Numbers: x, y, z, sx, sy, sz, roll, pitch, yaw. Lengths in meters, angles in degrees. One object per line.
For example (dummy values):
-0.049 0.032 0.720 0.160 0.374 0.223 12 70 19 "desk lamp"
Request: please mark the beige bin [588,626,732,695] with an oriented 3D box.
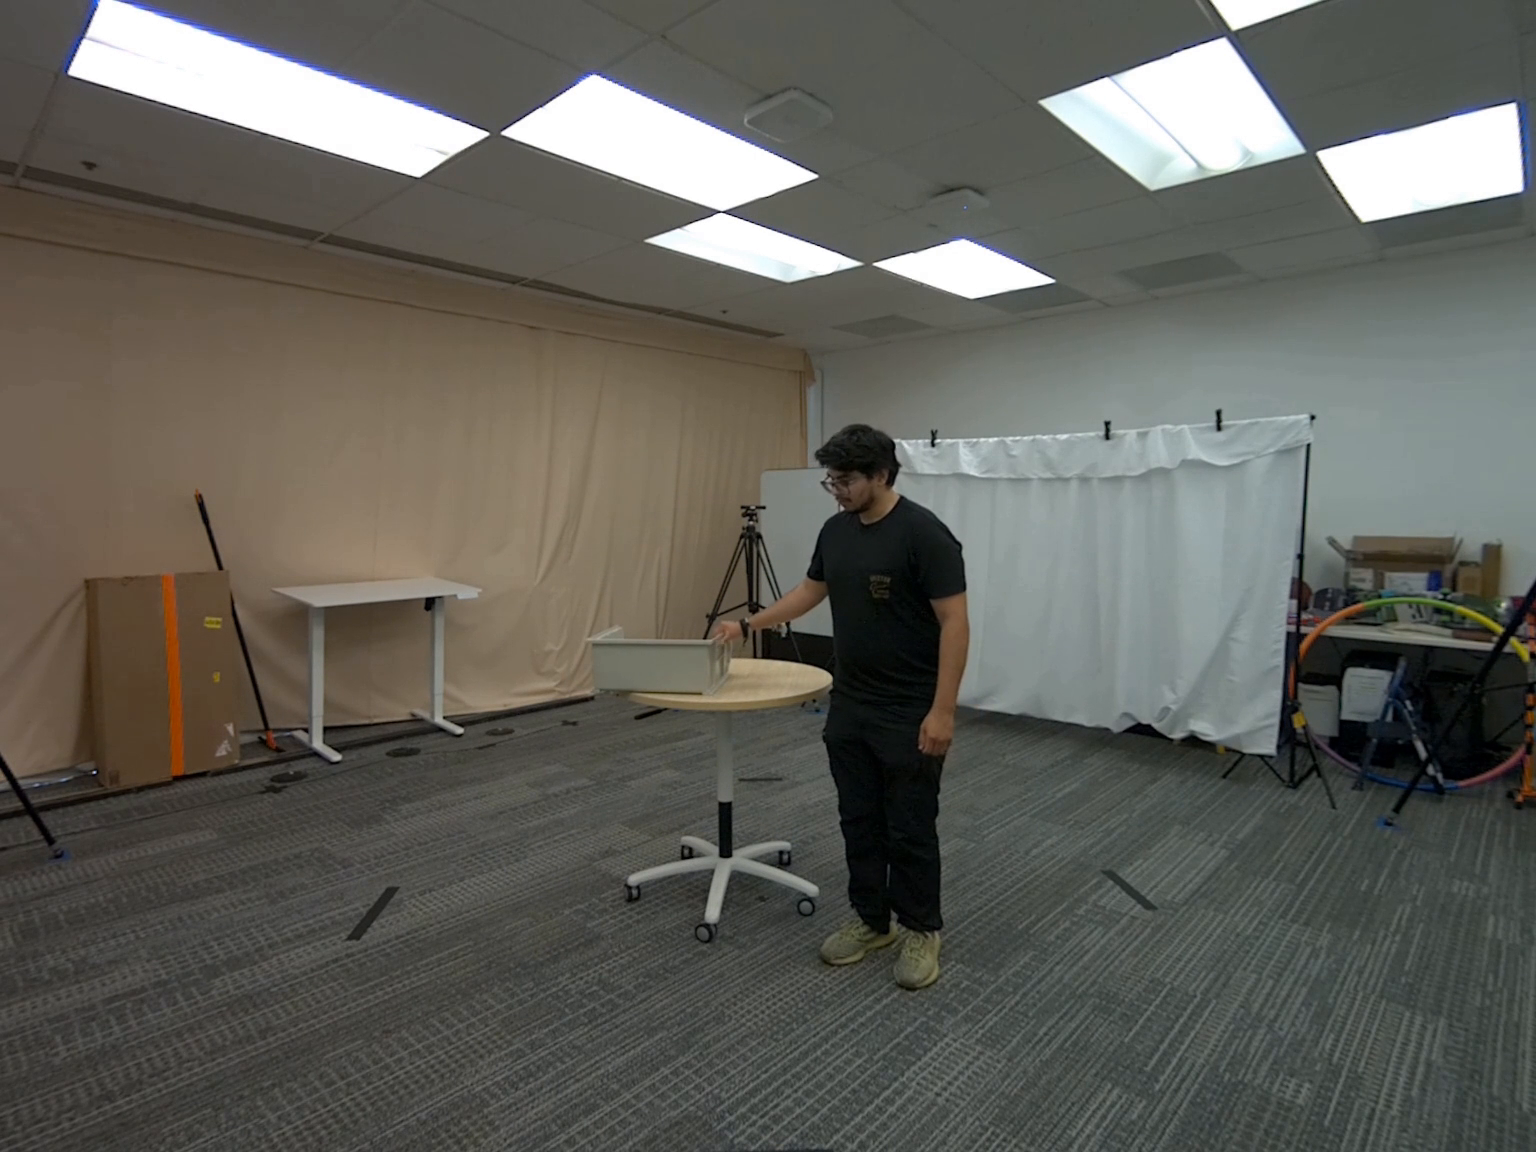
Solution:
-0.363 0.288 2.911 0.427 0.188 0.374 0 4 9 "beige bin"
